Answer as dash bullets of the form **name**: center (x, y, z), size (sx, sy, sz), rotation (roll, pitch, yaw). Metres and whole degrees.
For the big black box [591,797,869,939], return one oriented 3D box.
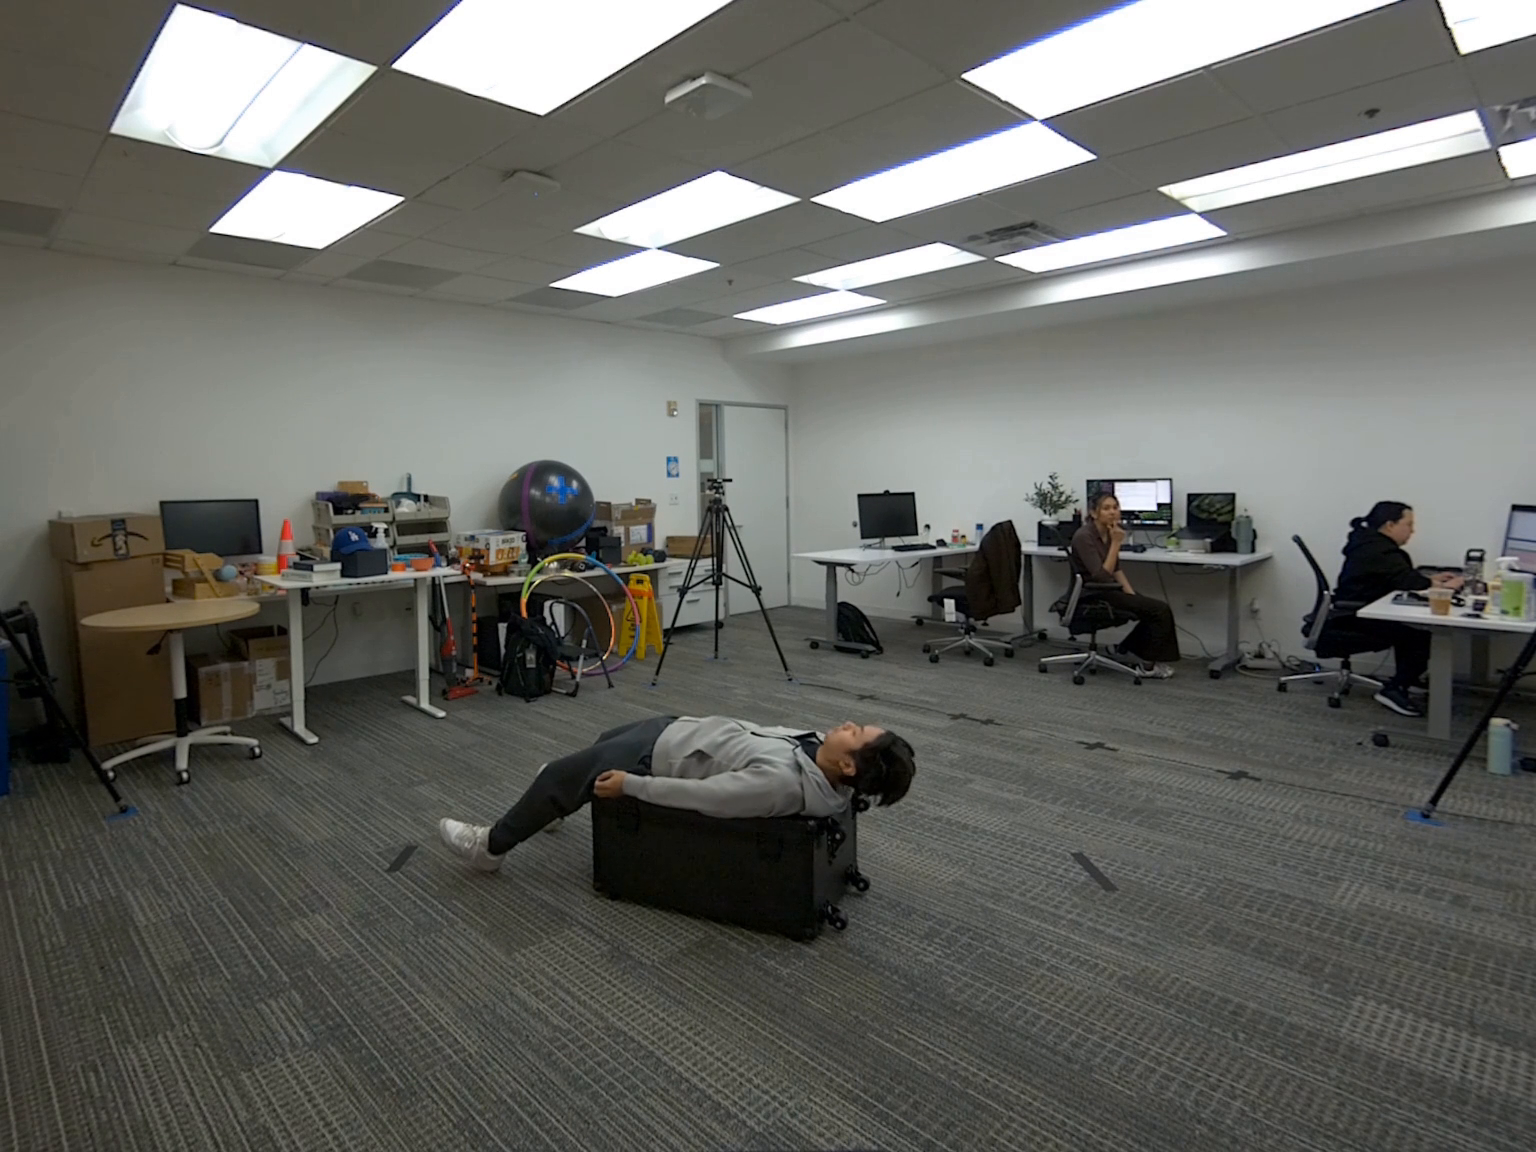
- **big black box**: center (-0.163, 0.882, 2.933), size (0.881, 0.394, 0.512), rotation (2, 6, 24)
